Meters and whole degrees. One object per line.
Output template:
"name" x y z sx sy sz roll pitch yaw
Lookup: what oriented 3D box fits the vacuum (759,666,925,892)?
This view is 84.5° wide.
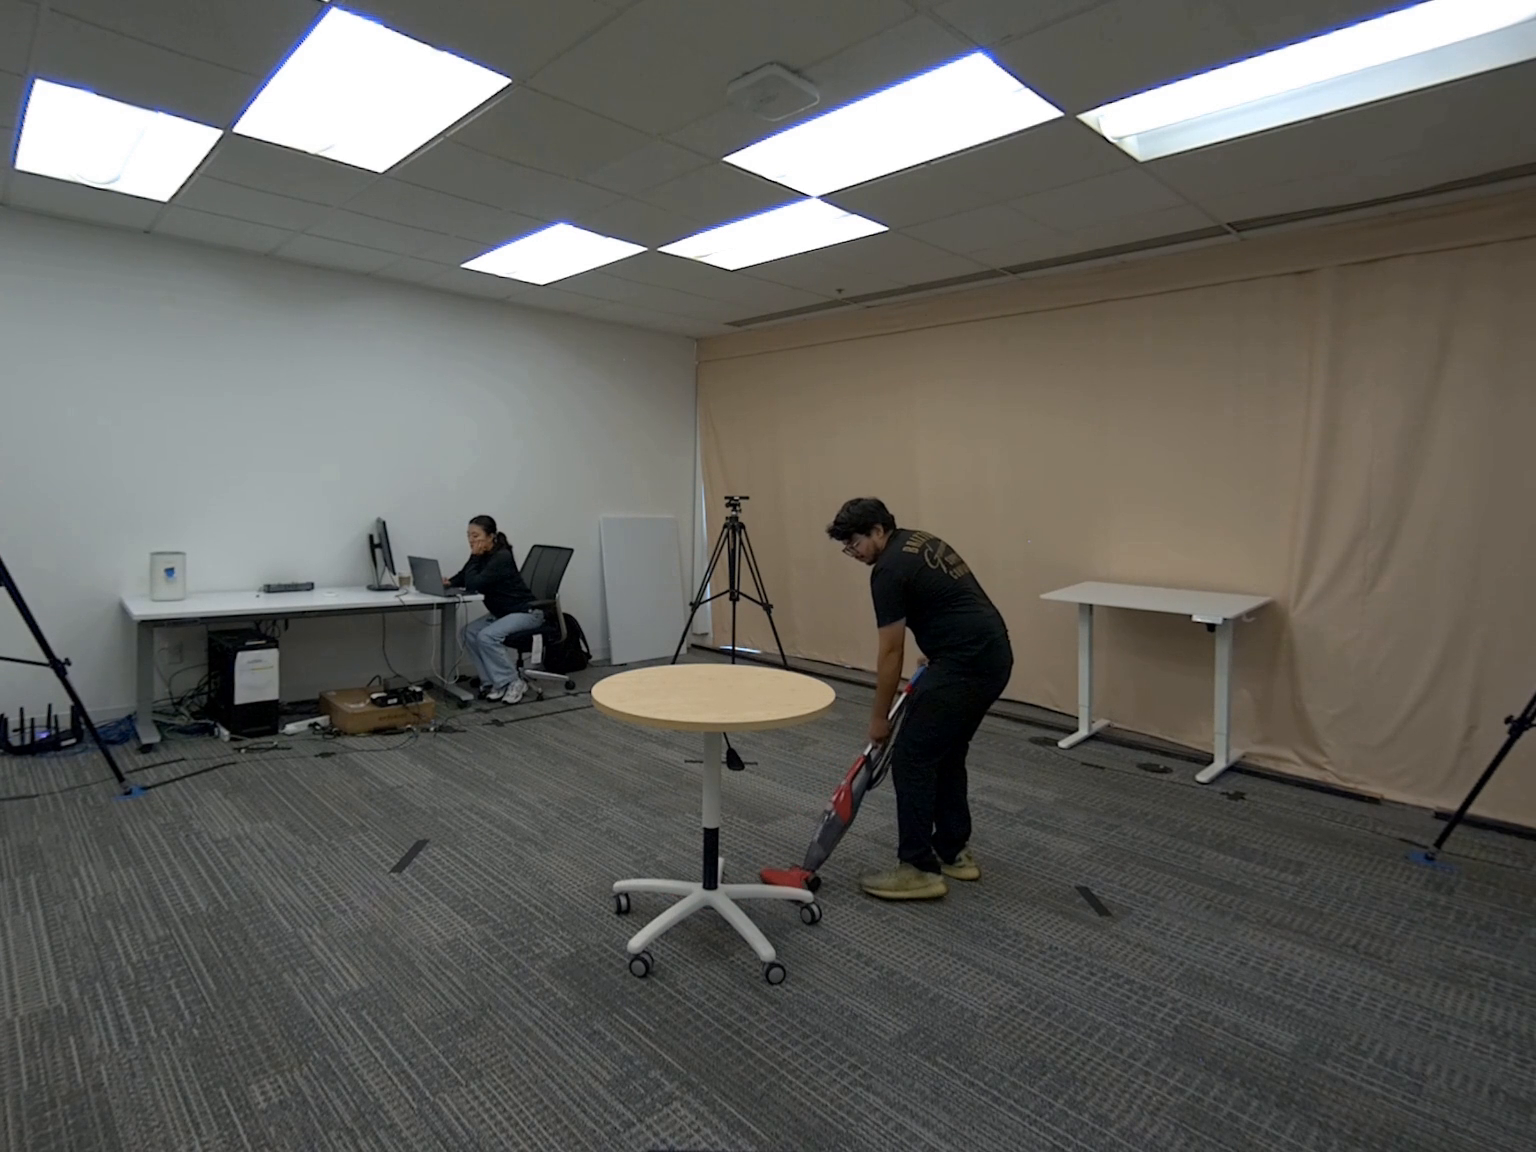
"vacuum" 0.372 0.704 3.186 0.259 1.051 0.140 5 -38 53
